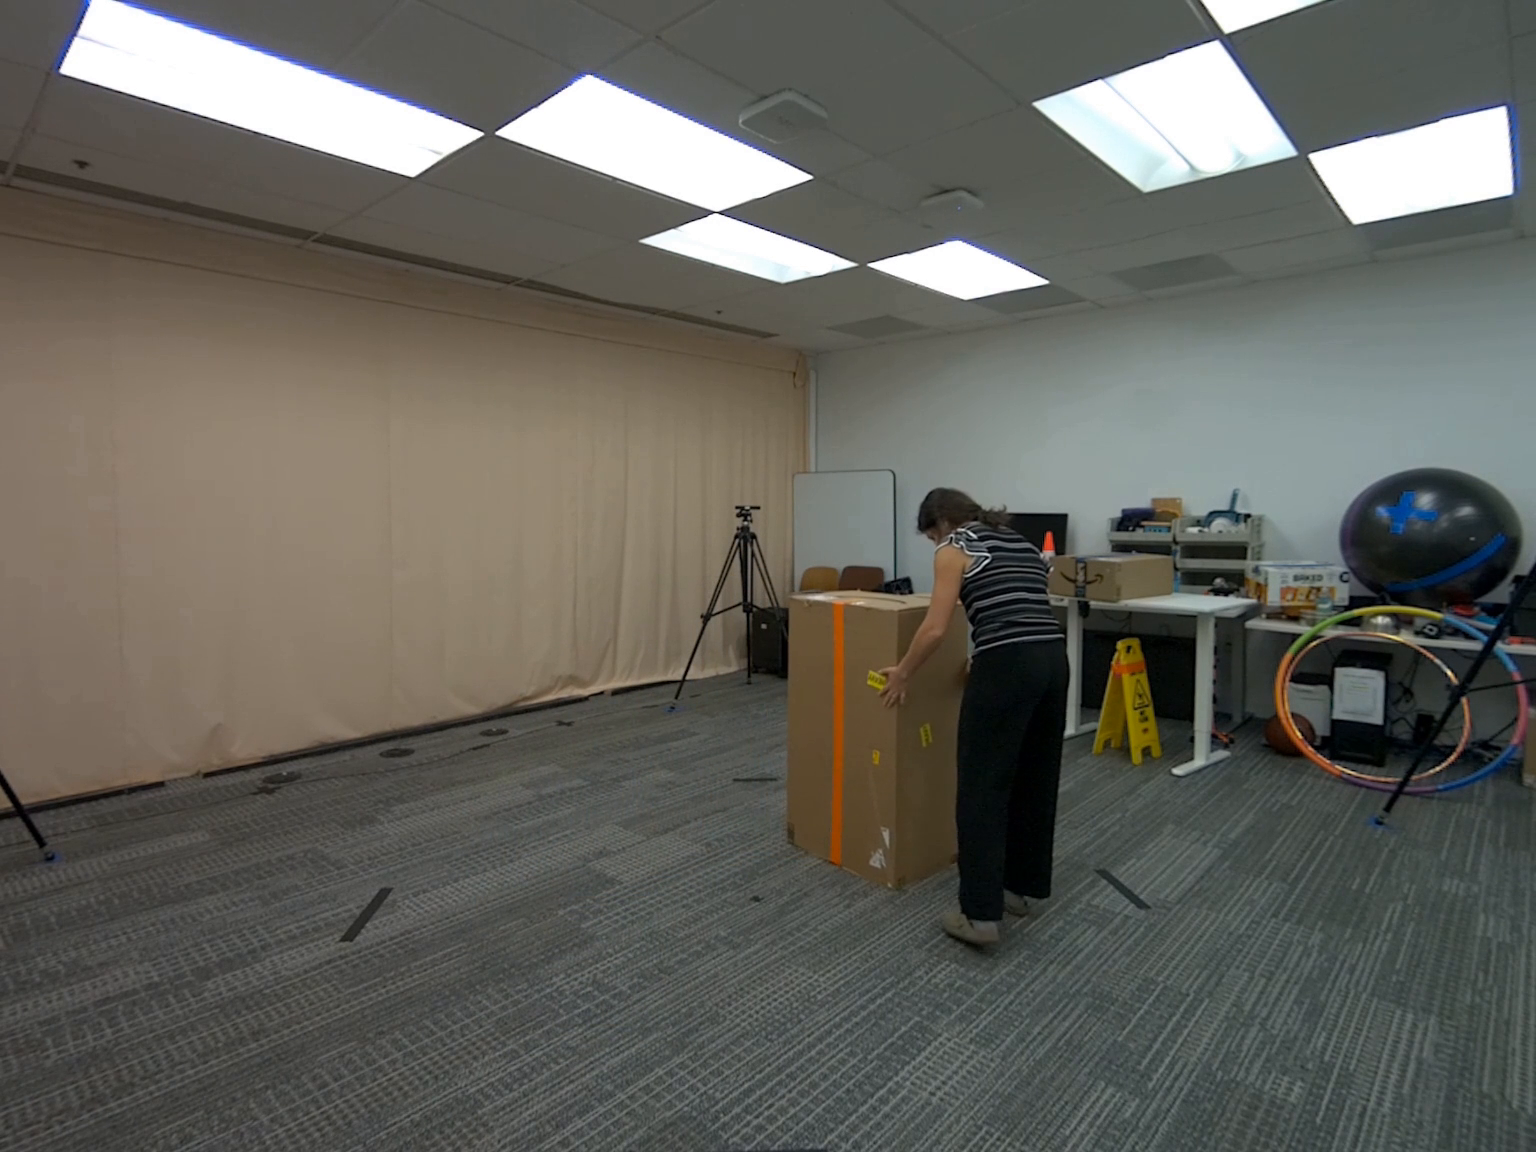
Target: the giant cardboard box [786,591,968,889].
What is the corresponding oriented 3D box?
[{"bbox_3d":[0.425,0.601,3.363,0.413,1.024,0.596,-2,4,-40],"label":"giant cardboard box"}]
